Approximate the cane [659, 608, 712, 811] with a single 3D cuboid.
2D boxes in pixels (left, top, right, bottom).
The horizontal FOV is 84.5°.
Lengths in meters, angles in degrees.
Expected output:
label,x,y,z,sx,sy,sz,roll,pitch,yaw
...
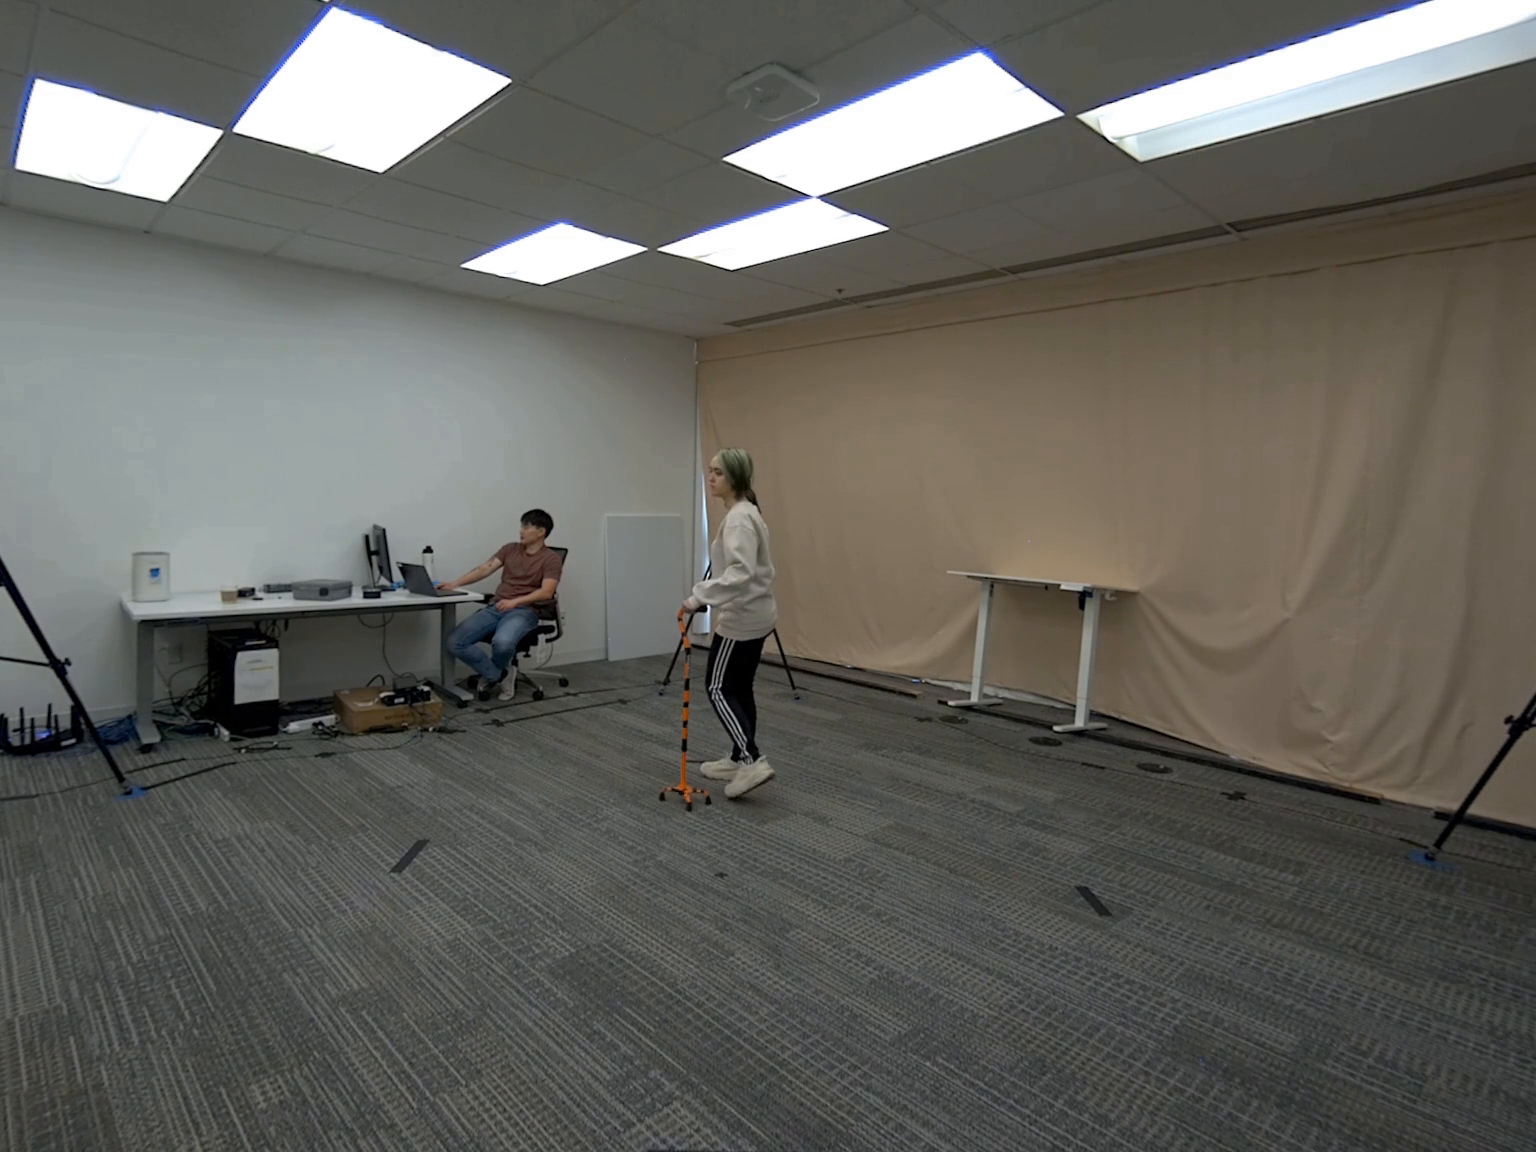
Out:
label,x,y,z,sx,sy,sz,roll,pitch,yaw
cane,-0.374,0.574,3.816,0.212,0.906,0.148,5,5,43
